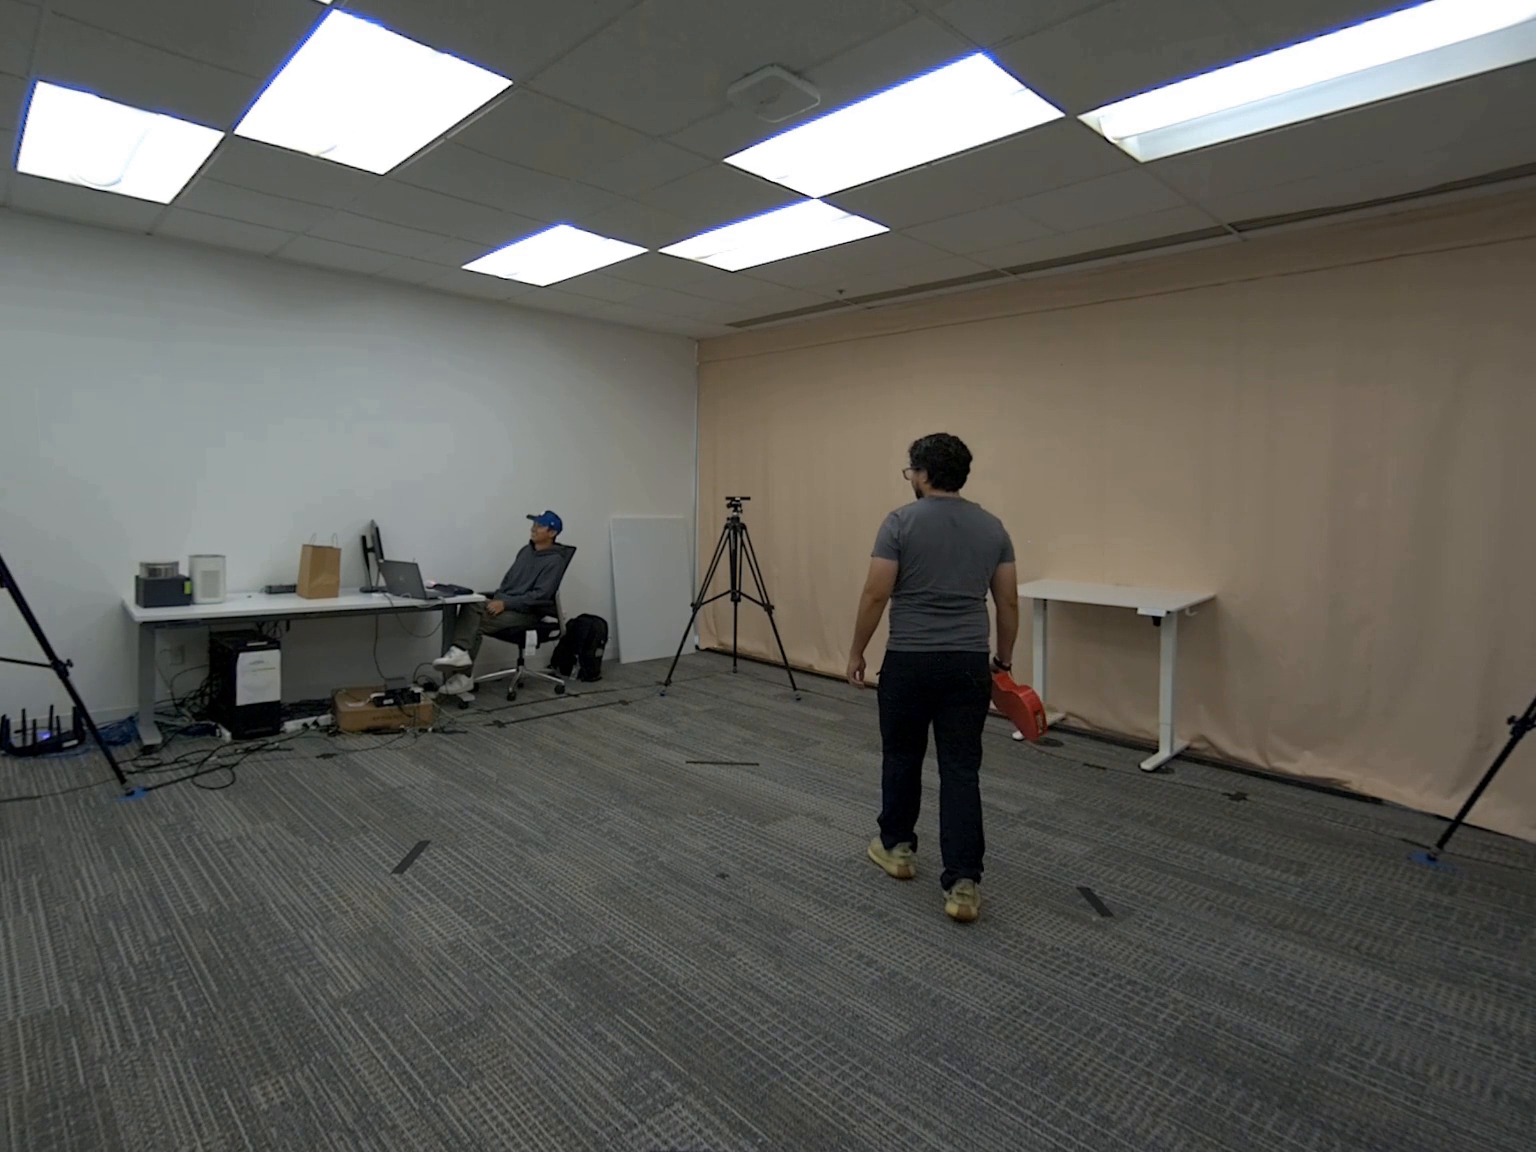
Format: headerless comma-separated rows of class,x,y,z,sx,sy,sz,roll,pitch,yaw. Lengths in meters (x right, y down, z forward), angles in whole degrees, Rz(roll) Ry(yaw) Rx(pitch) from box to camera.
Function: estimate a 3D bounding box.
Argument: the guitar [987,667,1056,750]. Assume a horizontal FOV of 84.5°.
guitar,0.852,0.435,3.094,0.070,0.190,0.507,-20,16,-10
